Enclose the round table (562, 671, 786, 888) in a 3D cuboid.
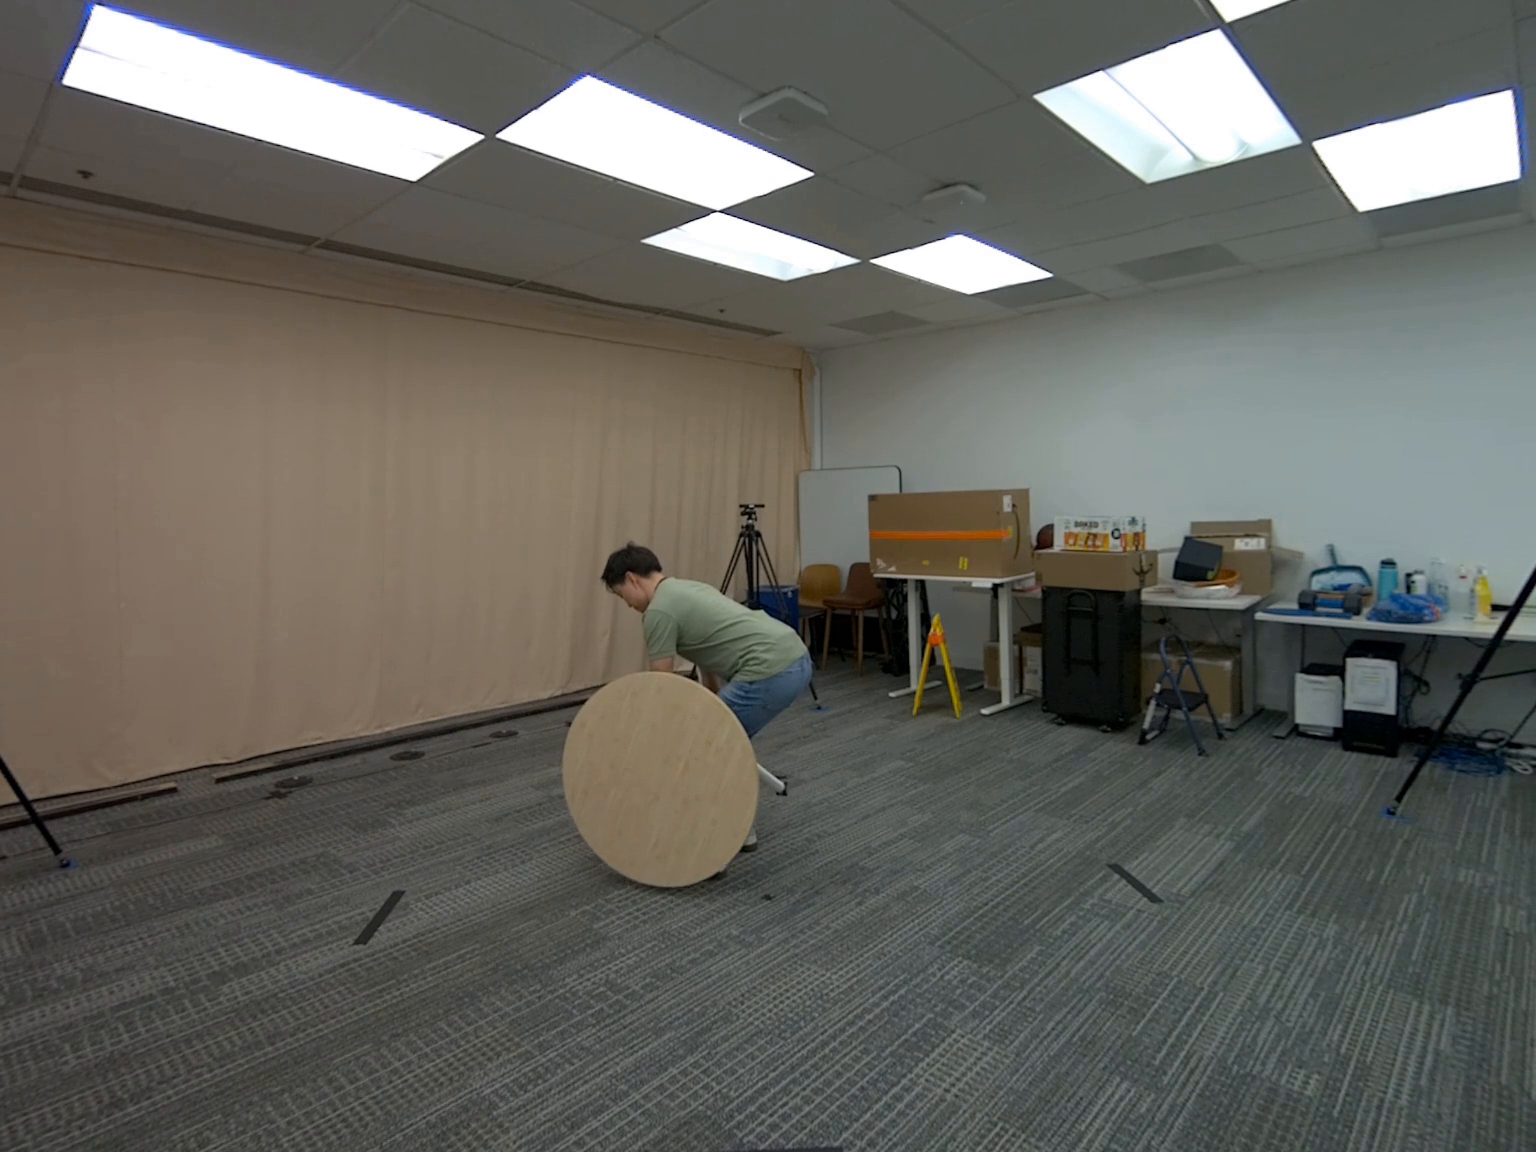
[{"bbox_3d":[-0.294,0.716,3.398,0.779,0.763,0.779,0,1,18],"label":"round table"}]
